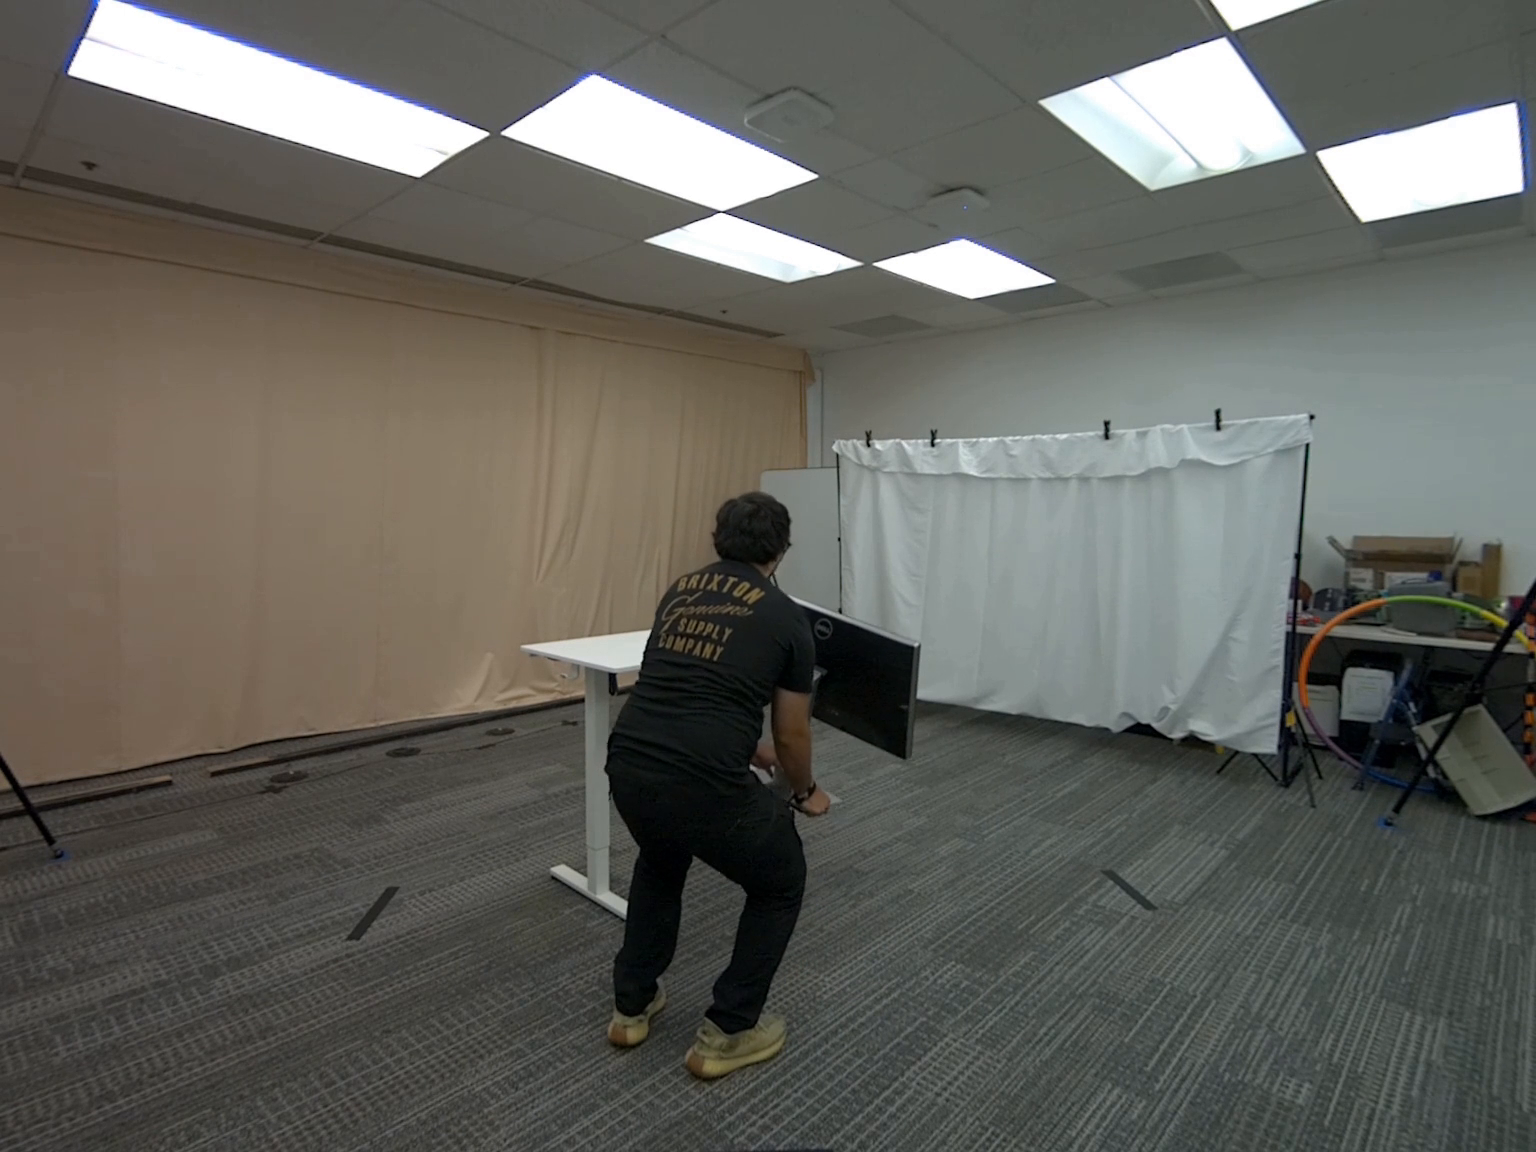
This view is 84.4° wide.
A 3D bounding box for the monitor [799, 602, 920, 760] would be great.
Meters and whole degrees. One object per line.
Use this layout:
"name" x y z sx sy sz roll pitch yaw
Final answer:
"monitor" 0.127 0.370 2.394 0.586 0.550 0.204 20 20 39
